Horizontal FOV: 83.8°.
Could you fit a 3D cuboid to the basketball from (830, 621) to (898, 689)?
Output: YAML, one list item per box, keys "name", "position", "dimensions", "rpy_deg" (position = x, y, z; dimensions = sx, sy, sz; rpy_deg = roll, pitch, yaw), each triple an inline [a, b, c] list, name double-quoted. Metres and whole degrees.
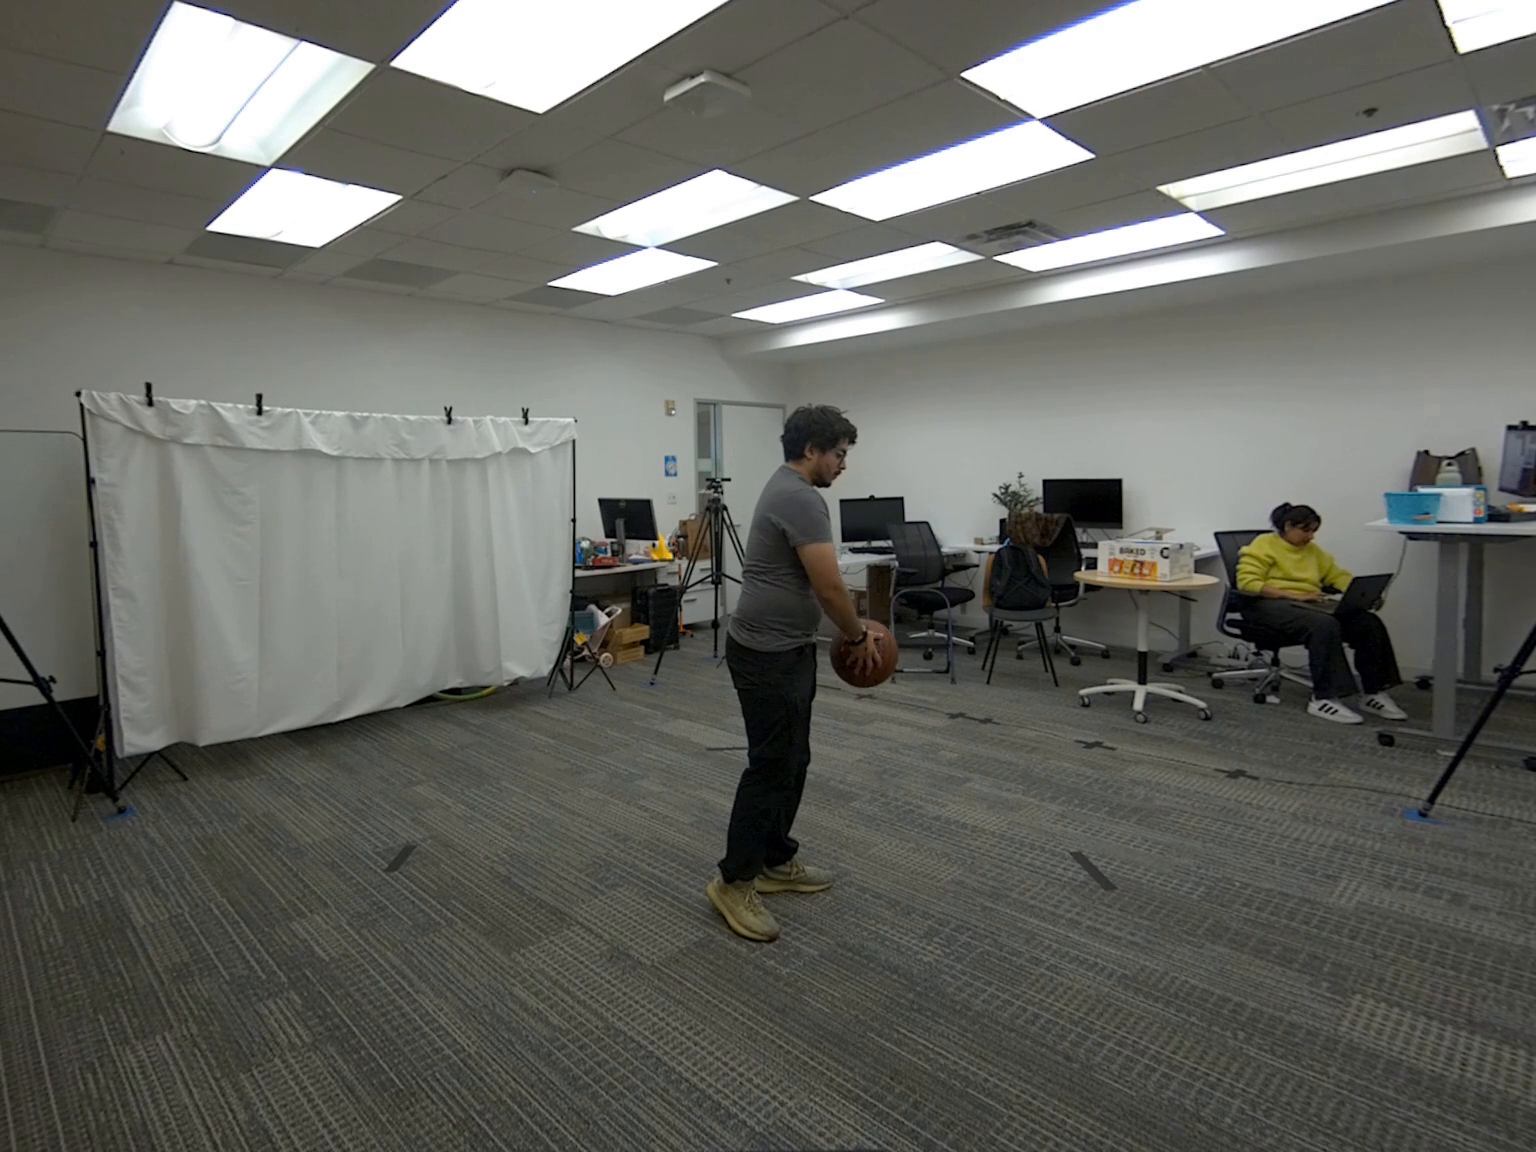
- name: "basketball"
  position: [0.335, 0.265, 2.993]
  dimensions: [0.236, 0.235, 0.237]
  rpy_deg: [-1, 5, -2]
